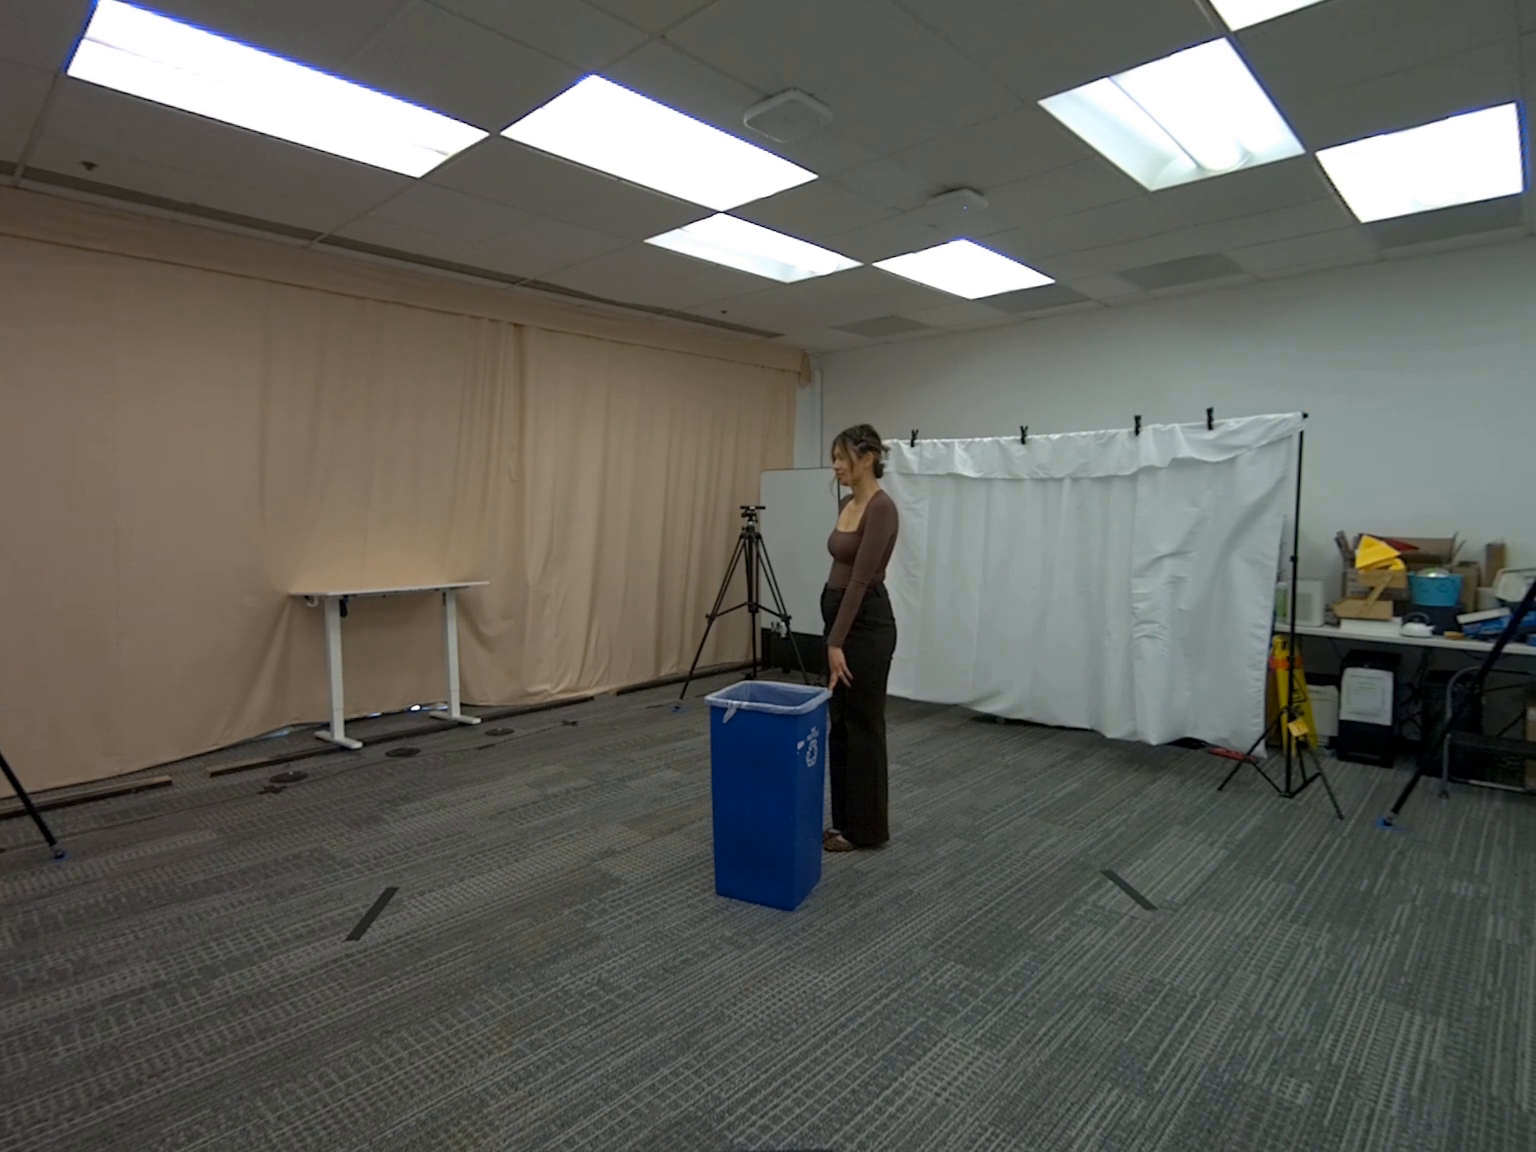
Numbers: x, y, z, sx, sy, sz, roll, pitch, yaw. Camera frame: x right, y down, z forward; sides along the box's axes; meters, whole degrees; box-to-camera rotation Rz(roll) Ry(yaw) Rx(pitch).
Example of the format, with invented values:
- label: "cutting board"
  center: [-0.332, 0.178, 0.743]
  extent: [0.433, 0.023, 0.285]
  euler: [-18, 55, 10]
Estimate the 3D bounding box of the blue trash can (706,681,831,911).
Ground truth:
- label: "blue trash can"
  center: [0.007, 0.777, 3.070]
  extent: [0.388, 0.712, 0.365]
  euler: [2, 4, 25]
